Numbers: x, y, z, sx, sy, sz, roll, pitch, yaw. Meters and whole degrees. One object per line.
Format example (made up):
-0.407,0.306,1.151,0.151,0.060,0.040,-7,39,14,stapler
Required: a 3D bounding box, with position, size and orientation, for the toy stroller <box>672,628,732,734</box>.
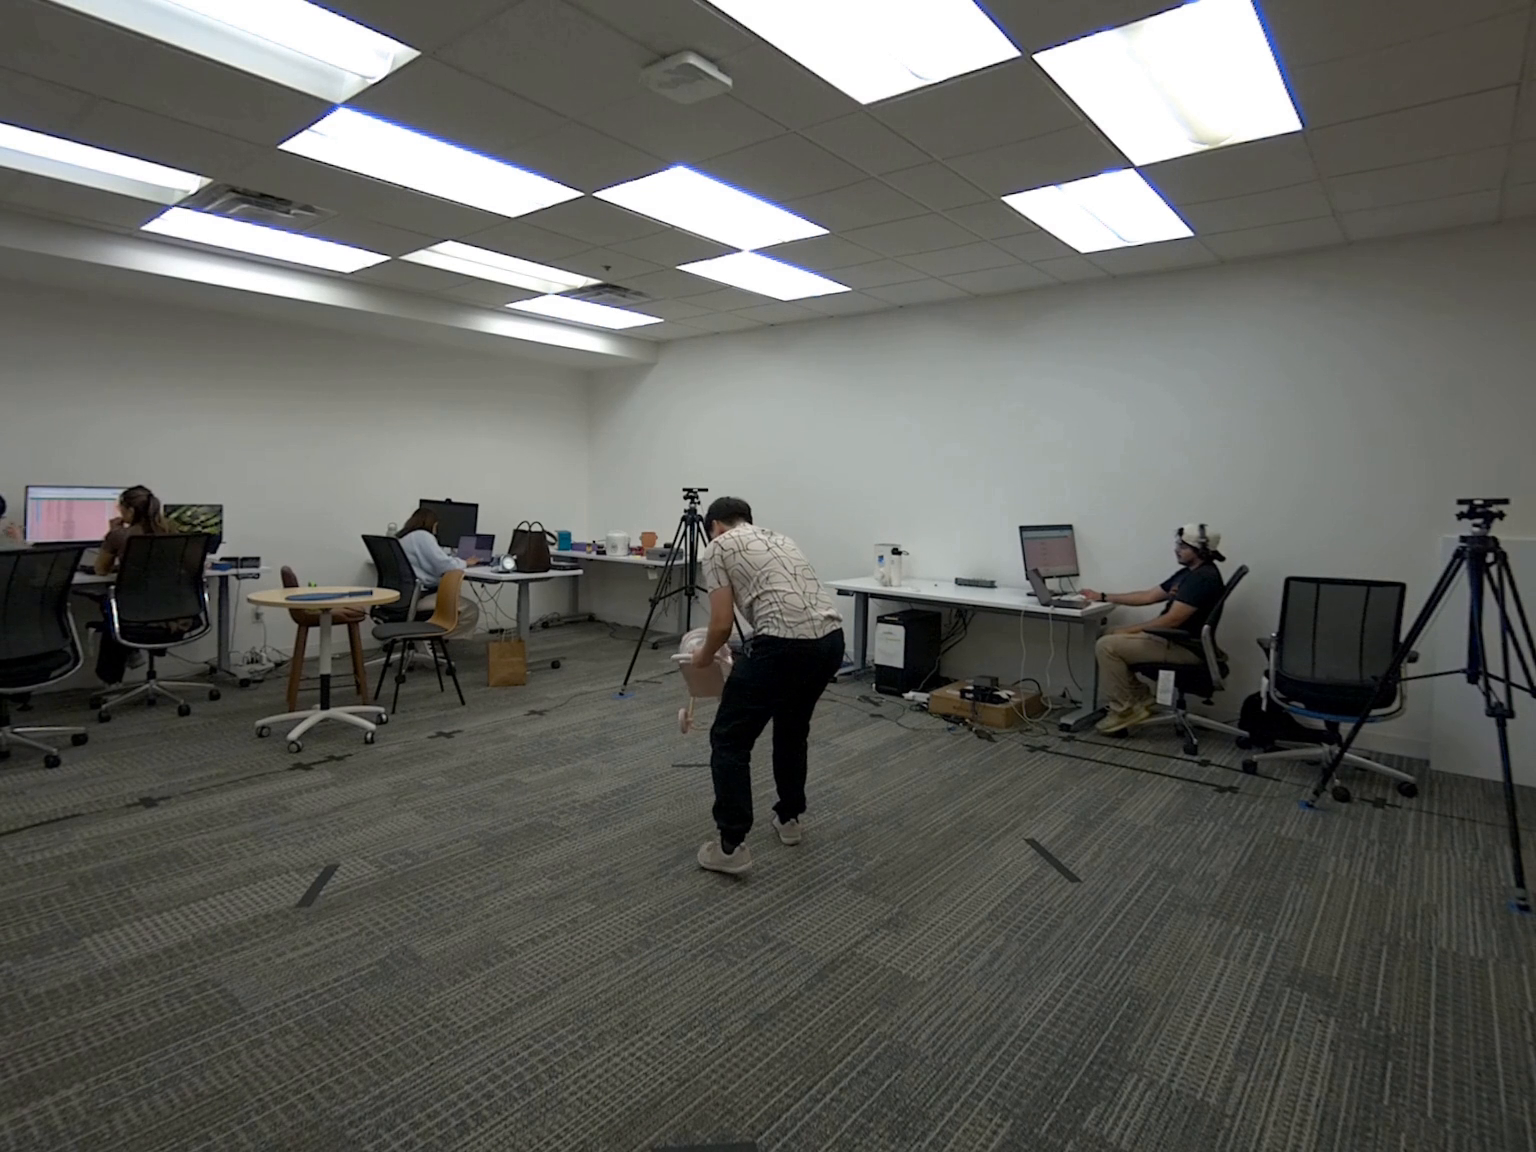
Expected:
-0.279,0.448,3.772,0.285,0.518,0.348,-3,34,12,toy stroller
